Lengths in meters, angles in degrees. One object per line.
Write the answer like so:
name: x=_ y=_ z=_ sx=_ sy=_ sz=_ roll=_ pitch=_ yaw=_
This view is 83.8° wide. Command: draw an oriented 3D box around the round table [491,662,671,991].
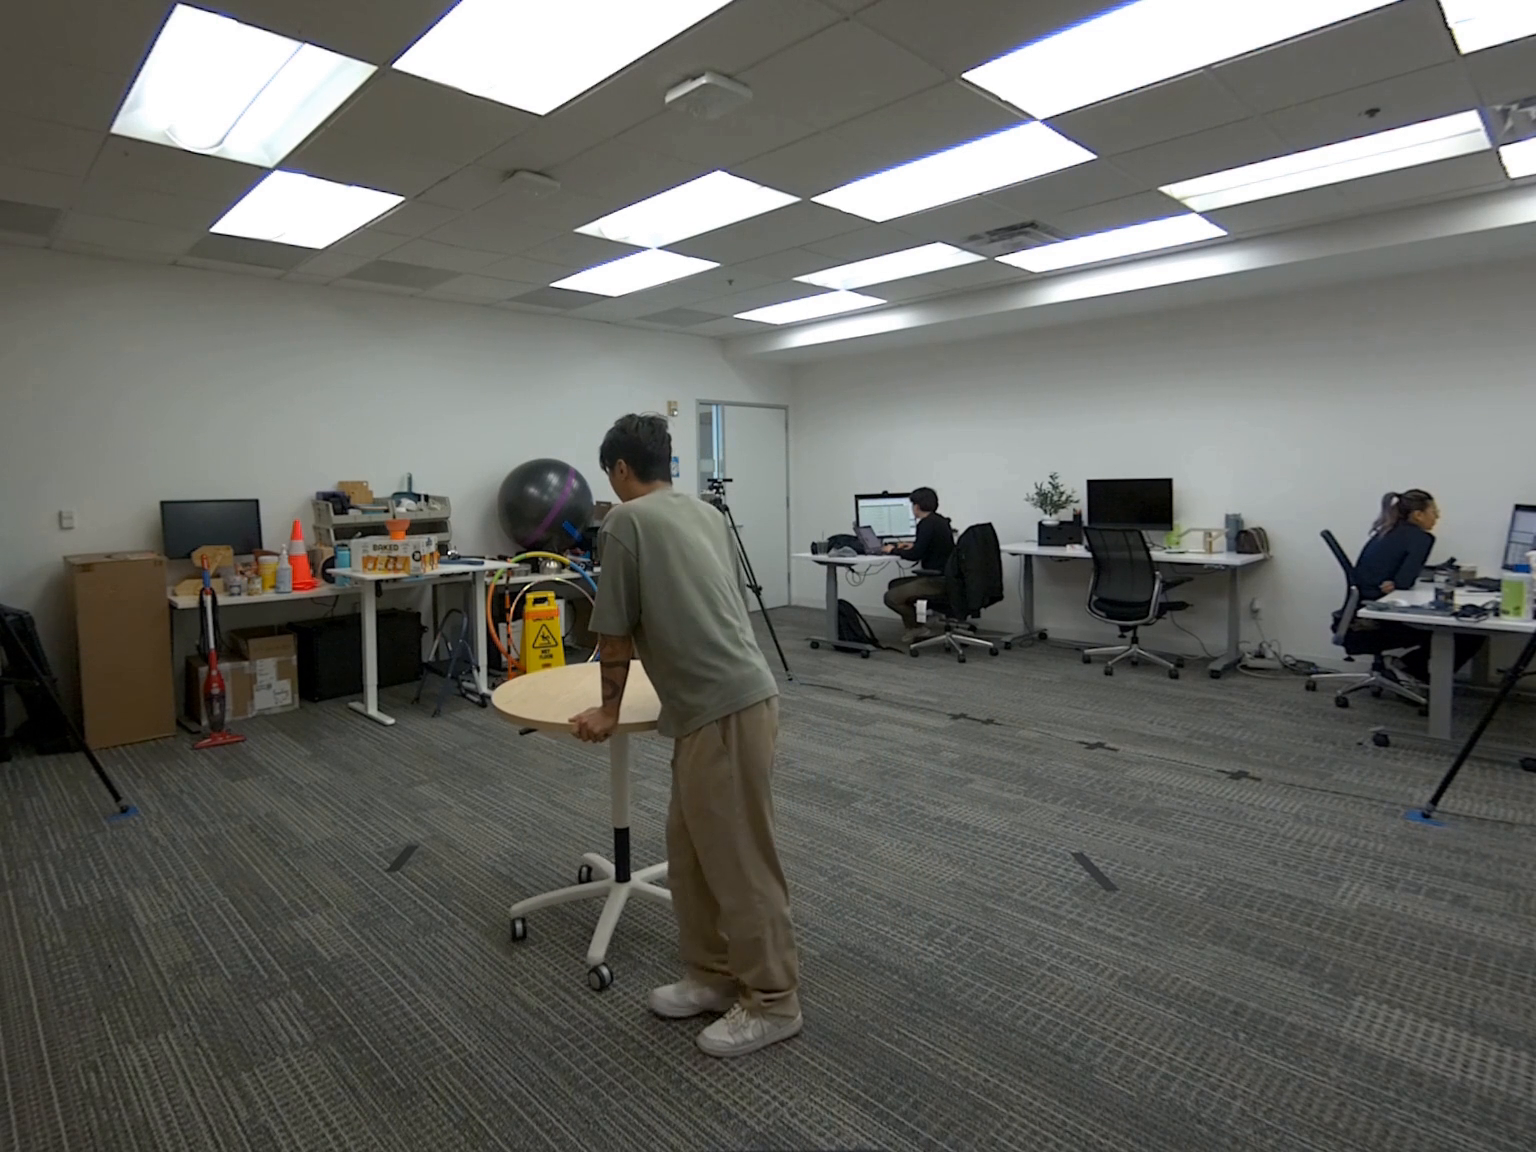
round table: x=-0.442 y=0.719 z=2.691 sx=0.784 sy=0.783 sz=0.790 roll=-1 pitch=6 yaw=-2
